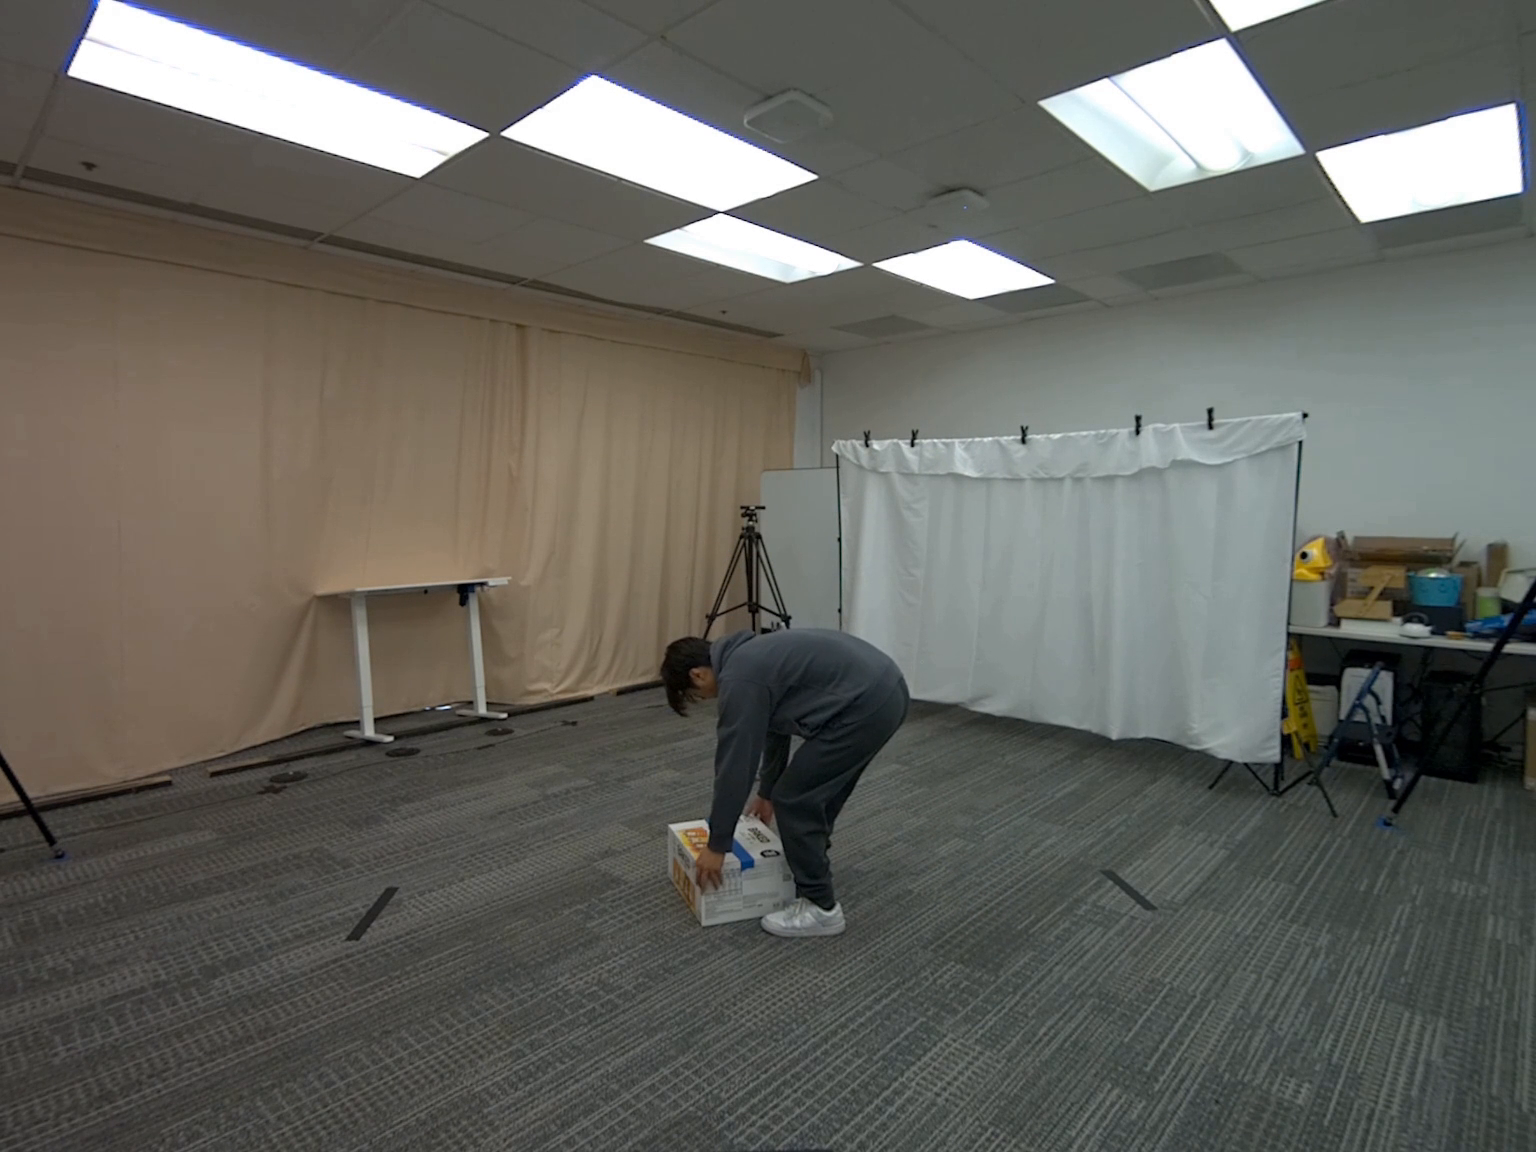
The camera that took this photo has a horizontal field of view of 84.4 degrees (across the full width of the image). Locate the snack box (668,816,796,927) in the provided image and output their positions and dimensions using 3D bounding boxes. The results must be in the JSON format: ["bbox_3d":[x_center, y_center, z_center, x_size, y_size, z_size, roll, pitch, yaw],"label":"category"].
[{"bbox_3d":[-0.136,1.039,3.011,0.333,0.205,0.414,-2,5,-21],"label":"snack box"}]
